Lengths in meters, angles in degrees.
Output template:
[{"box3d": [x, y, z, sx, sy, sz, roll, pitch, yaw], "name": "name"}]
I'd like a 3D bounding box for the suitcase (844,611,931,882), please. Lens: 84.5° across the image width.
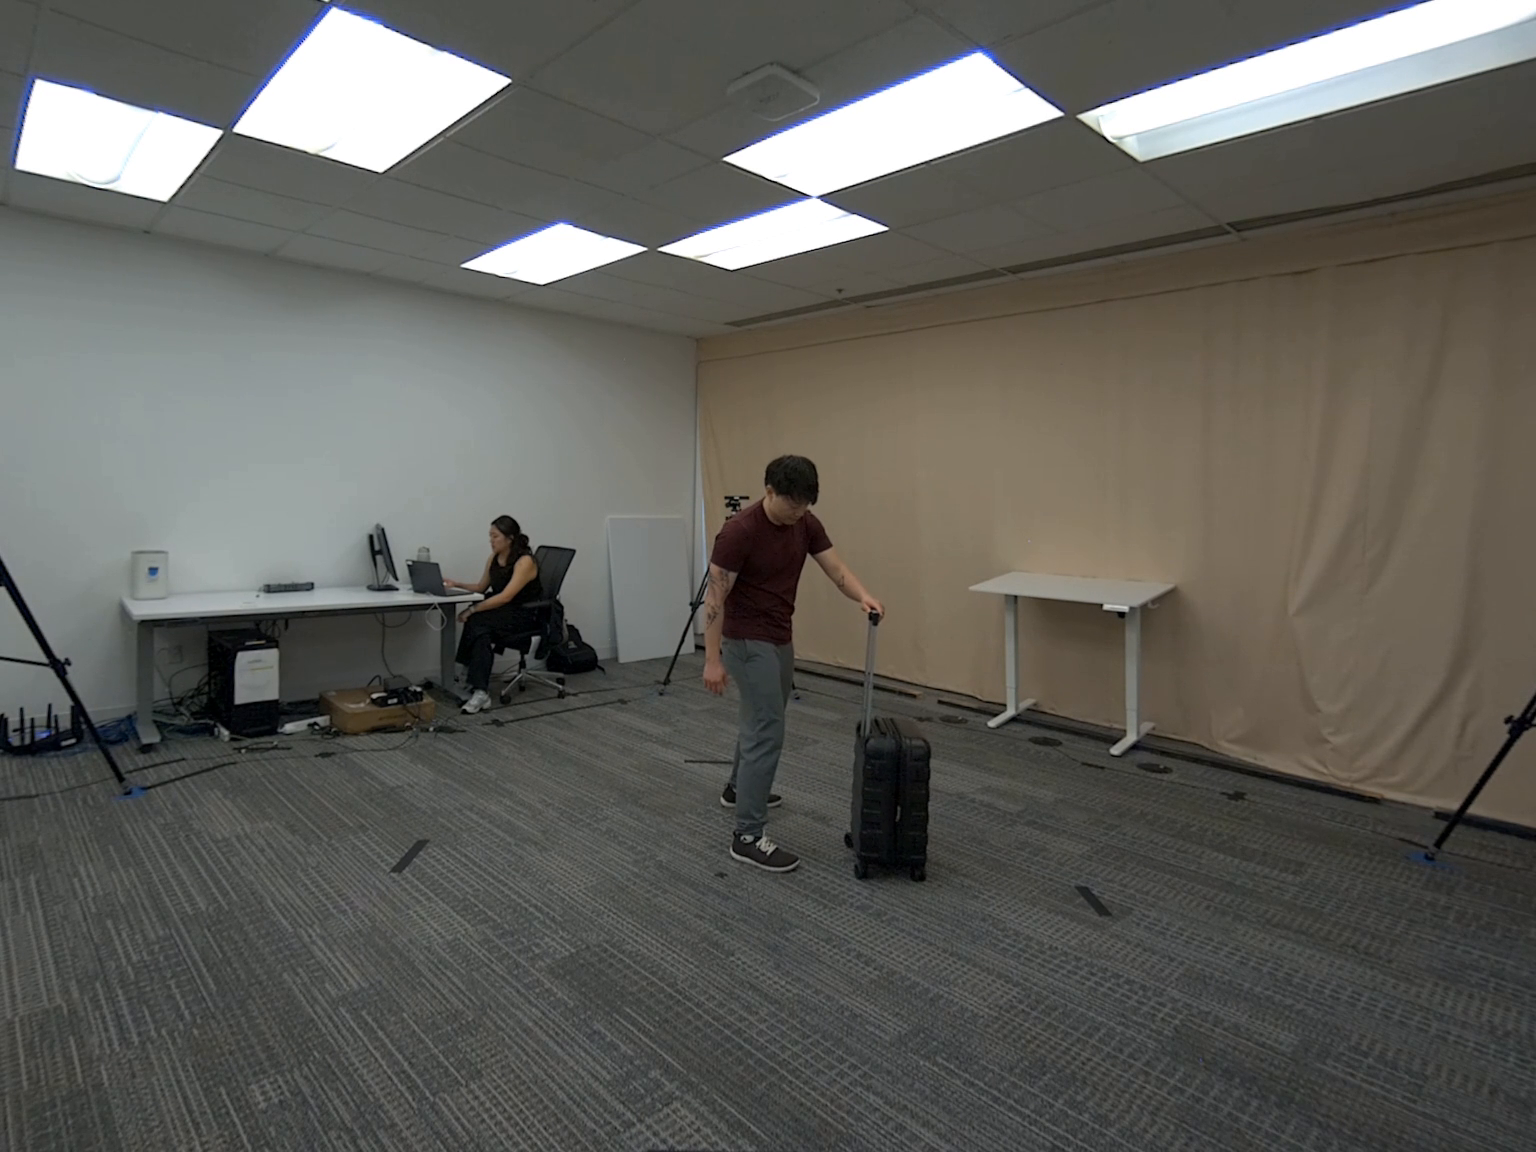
[{"box3d": [0.468, 0.632, 3.202, 0.257, 0.975, 0.385, 4, 5, -1], "name": "suitcase"}]
